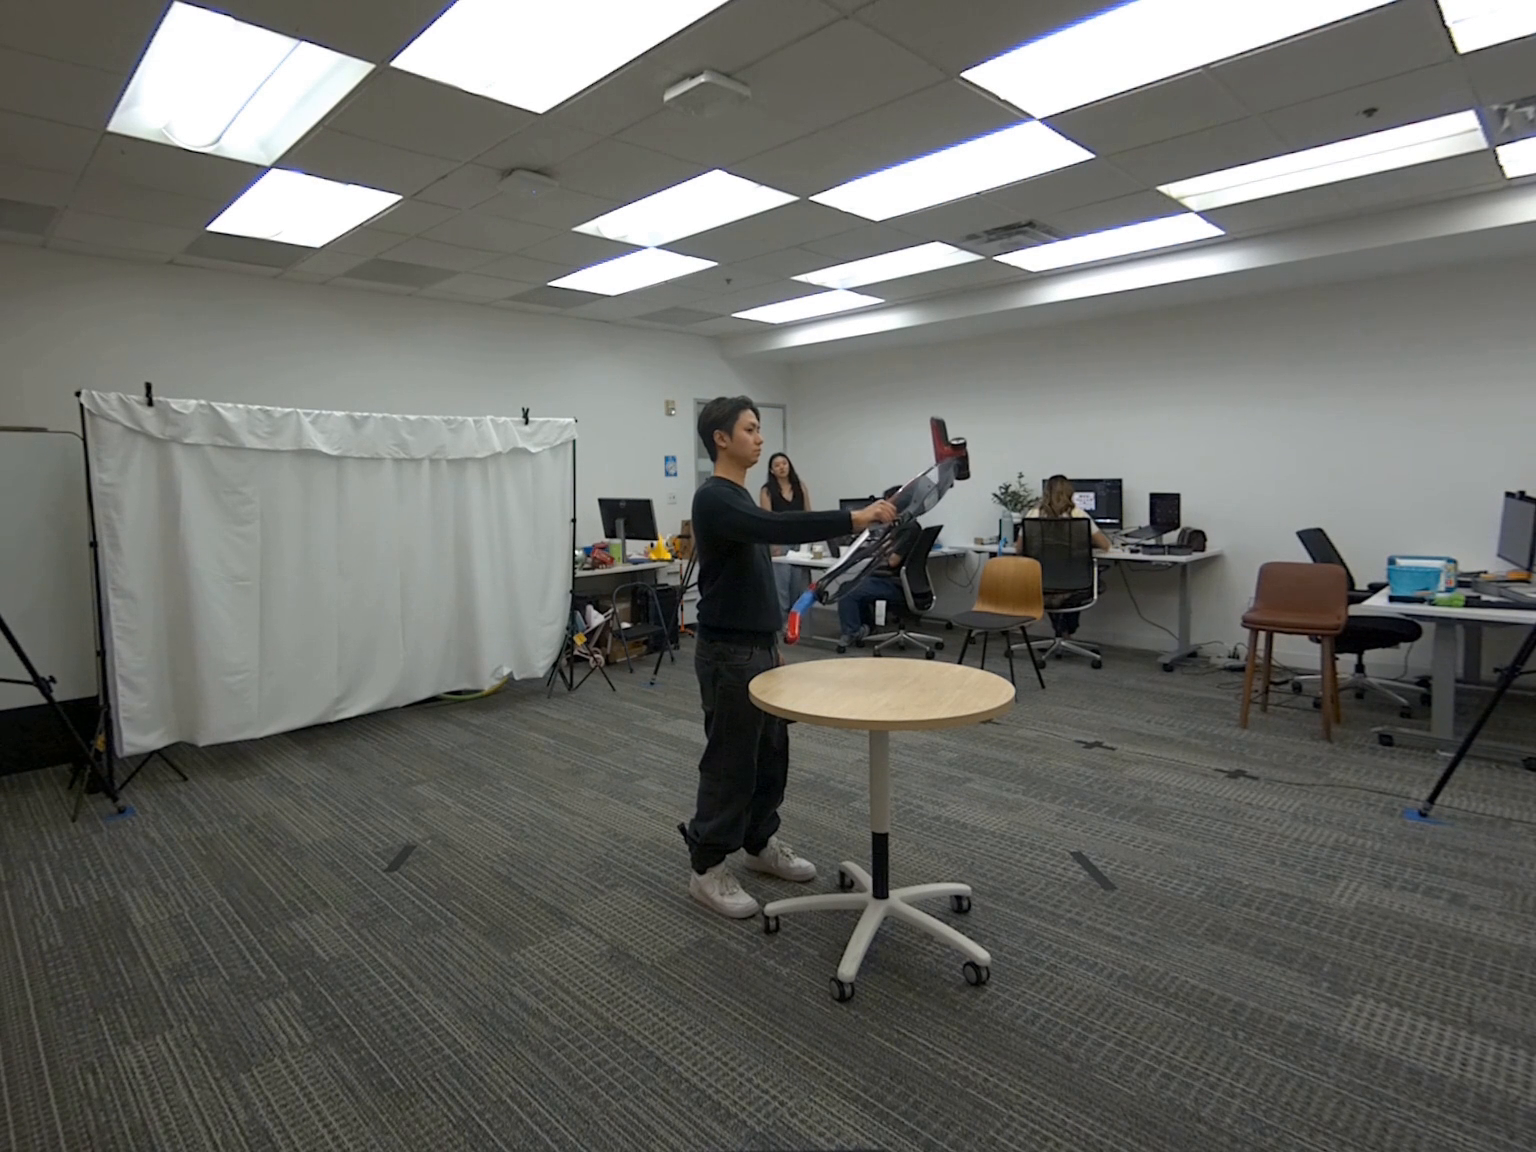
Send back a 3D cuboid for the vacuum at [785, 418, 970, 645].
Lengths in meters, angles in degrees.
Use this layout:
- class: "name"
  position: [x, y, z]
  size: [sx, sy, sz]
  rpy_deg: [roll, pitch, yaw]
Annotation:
- class: "vacuum"
  position: [0.326, -0.115, 2.450]
  size: [0.148, 0.245, 1.046]
  rpy_deg: [11, 39, 33]
